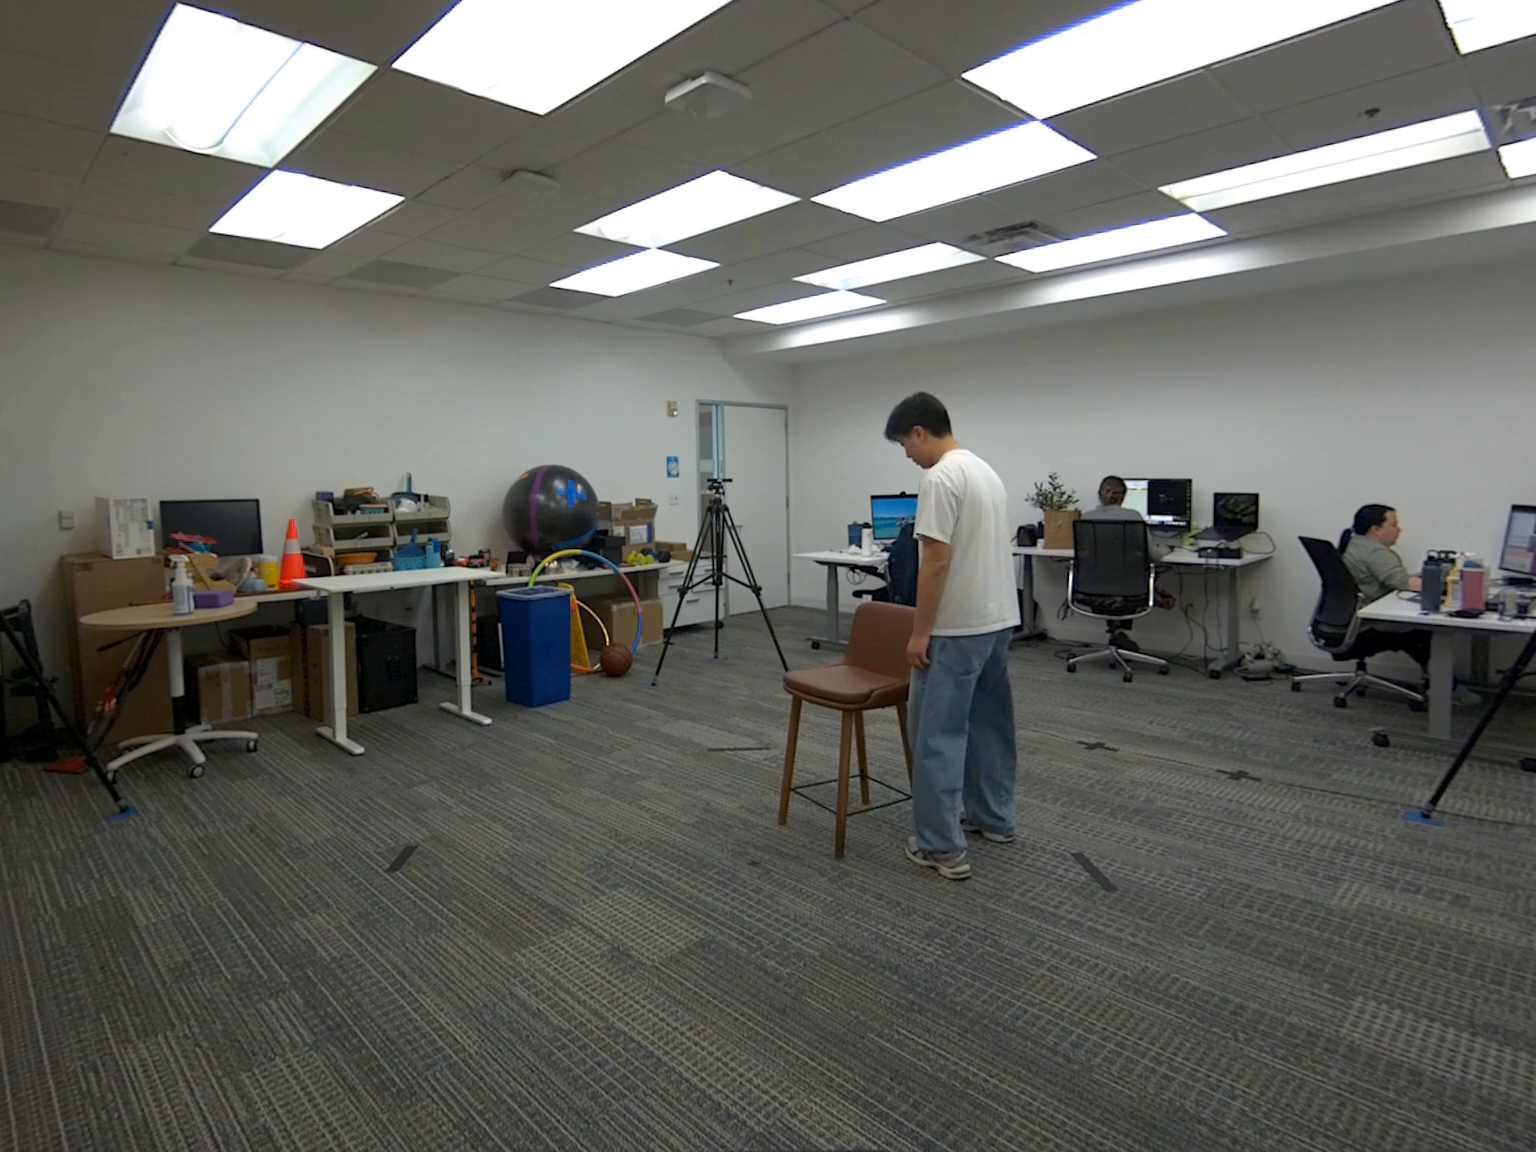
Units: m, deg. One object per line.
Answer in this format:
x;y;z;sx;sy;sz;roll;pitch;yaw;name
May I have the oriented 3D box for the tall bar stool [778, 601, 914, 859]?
0.338;0.571;3.391;0.456;0.887;0.469;-1;3;-32;tall bar stool
